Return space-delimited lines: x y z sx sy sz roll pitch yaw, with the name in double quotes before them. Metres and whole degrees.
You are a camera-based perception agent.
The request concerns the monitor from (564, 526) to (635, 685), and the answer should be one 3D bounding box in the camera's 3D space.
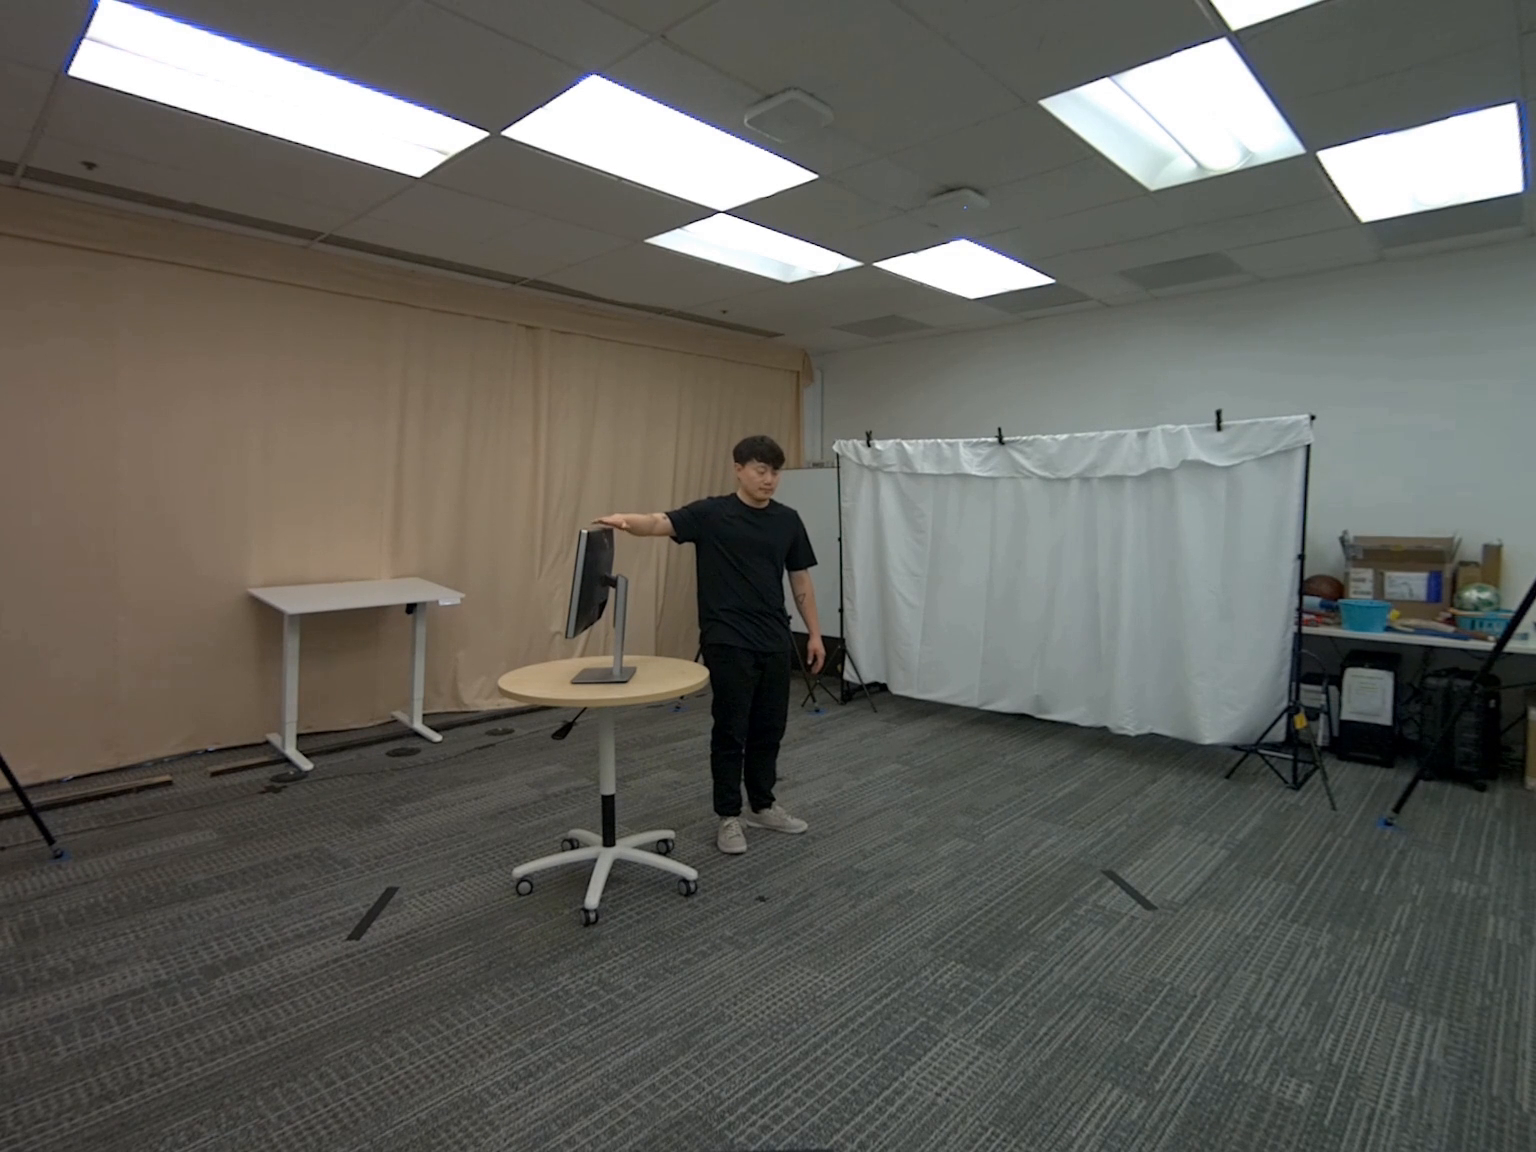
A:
"monitor" -0.589 0.105 3.031 0.187 0.521 0.541 -3 4 -3
